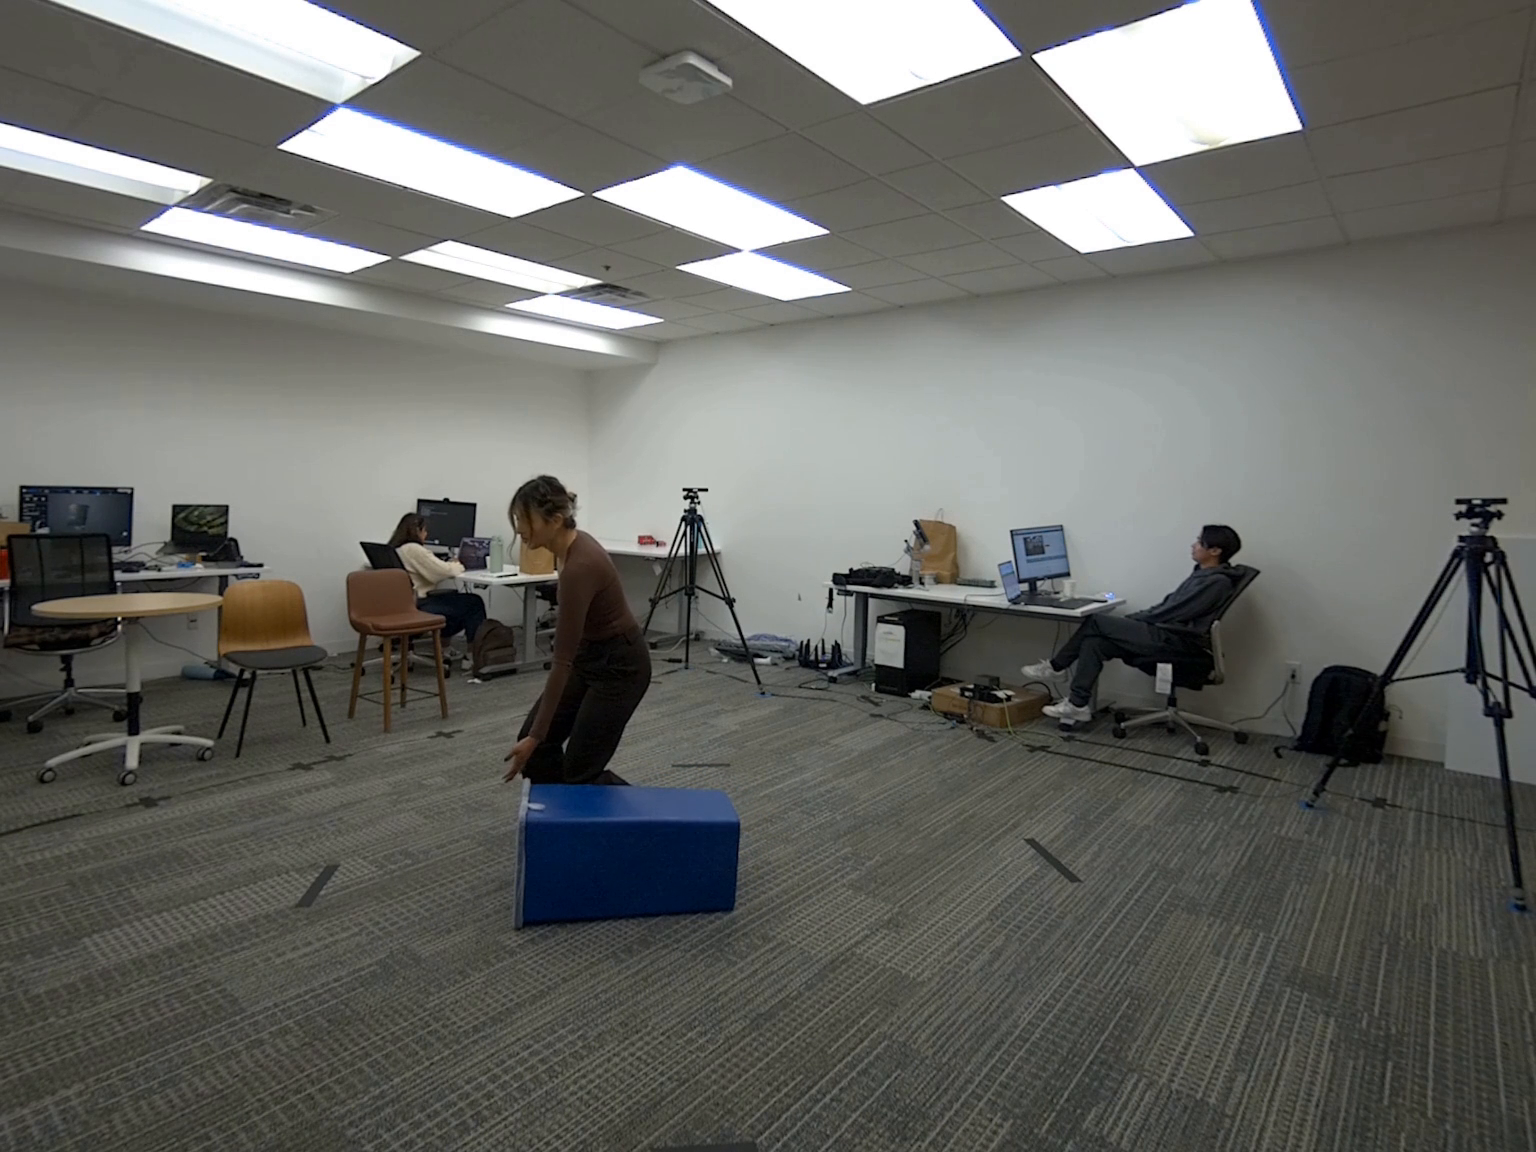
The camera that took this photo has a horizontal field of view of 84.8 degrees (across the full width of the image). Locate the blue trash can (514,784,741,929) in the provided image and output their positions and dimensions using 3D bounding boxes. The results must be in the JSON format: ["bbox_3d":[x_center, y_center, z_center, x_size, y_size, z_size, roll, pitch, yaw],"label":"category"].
[{"bbox_3d":[-0.490,0.922,2.880,0.704,0.377,0.380,3,3,-12],"label":"blue trash can"}]
